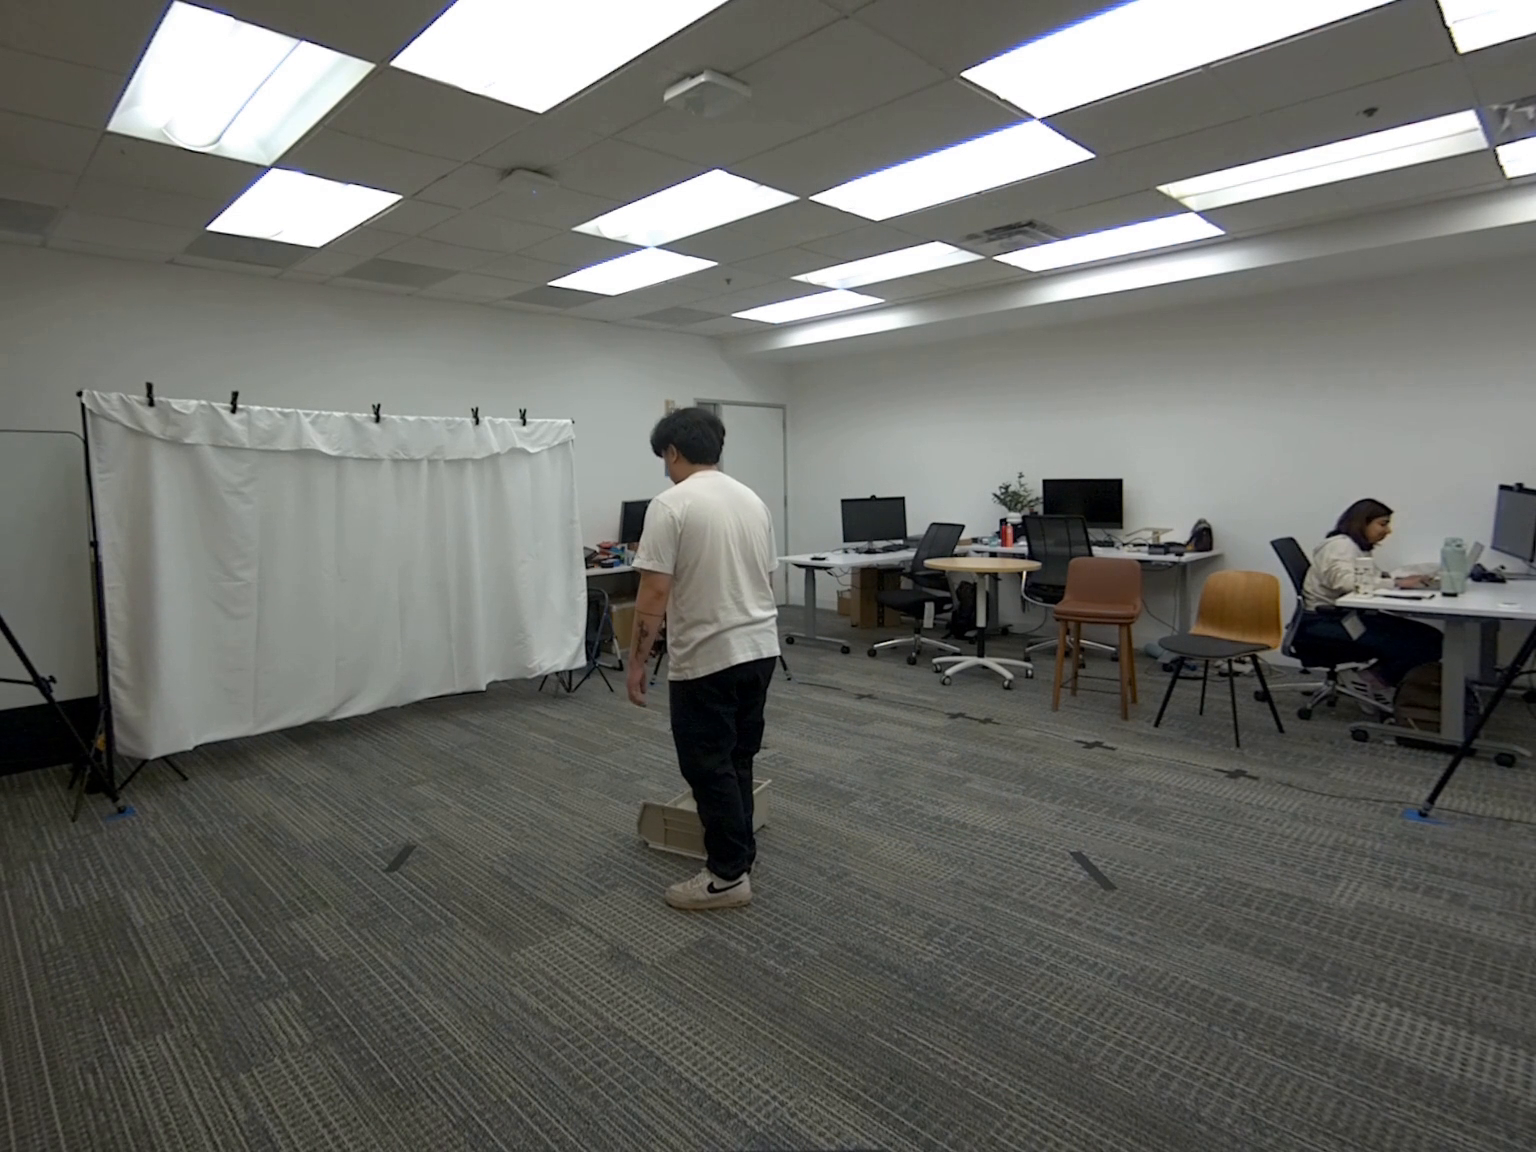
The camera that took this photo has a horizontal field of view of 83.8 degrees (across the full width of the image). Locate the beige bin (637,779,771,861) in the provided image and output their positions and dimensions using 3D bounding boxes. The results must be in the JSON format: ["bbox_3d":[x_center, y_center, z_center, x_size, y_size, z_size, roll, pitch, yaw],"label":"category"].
[{"bbox_3d":[-0.243,0.928,3.357,0.387,0.188,0.414,3,7,27],"label":"beige bin"}]
